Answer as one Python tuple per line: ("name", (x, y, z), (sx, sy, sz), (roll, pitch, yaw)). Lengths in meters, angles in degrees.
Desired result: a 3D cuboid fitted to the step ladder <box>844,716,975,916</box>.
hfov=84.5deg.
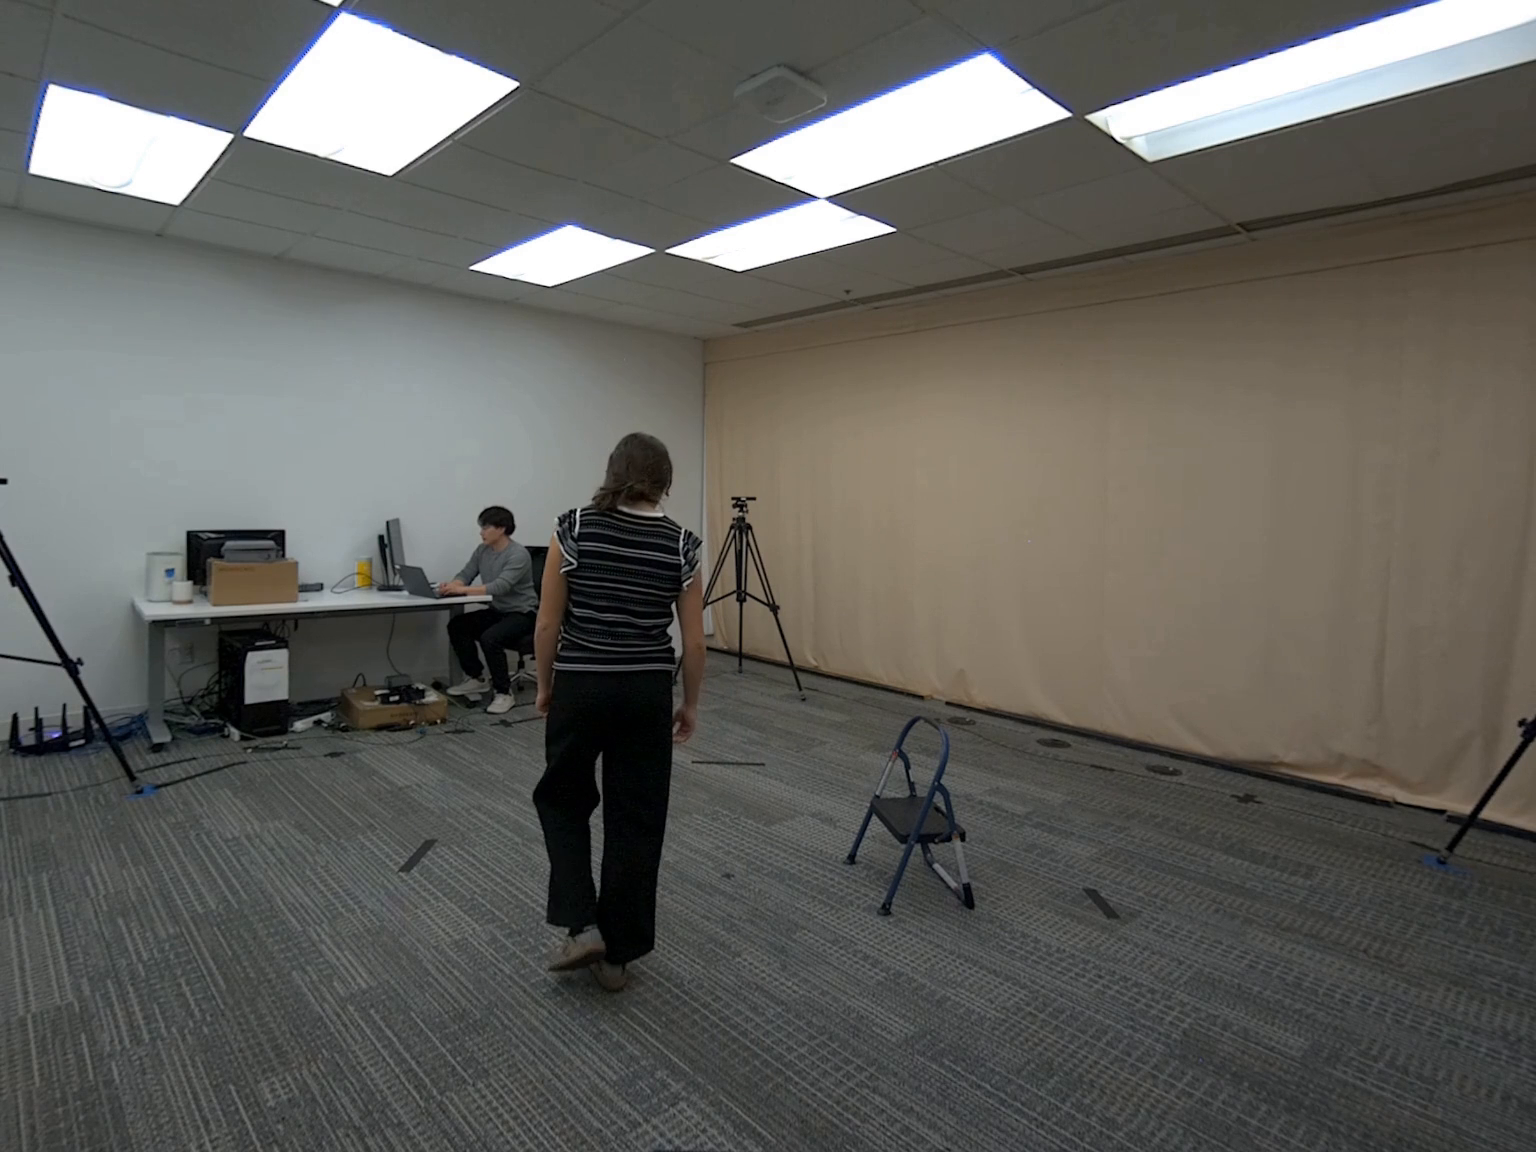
("step ladder", (0.509, 0.828, 3.050), (0.346, 0.604, 0.435), (1, 4, -11))
